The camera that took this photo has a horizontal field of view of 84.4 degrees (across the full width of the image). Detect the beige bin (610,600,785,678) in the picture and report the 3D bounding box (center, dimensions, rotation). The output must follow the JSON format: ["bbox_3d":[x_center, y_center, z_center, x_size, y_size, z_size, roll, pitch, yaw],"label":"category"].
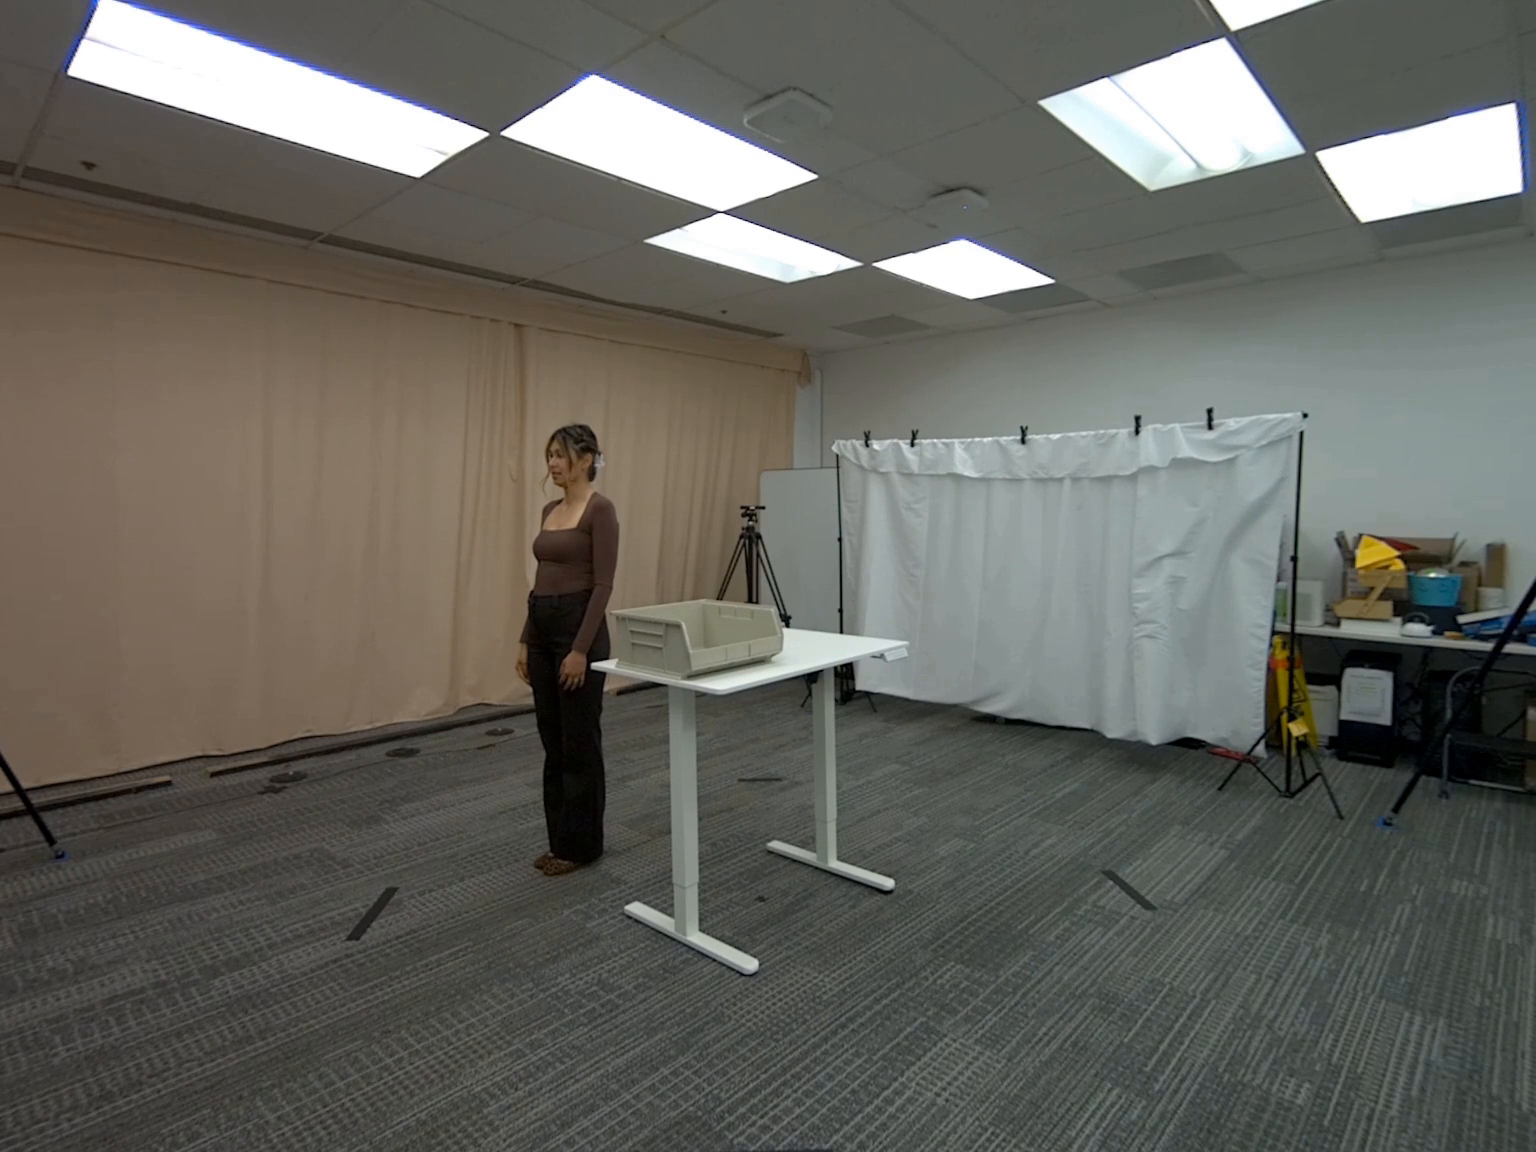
[{"bbox_3d":[-0.223,0.202,2.714,0.390,0.188,0.410,2,6,43],"label":"beige bin"}]
